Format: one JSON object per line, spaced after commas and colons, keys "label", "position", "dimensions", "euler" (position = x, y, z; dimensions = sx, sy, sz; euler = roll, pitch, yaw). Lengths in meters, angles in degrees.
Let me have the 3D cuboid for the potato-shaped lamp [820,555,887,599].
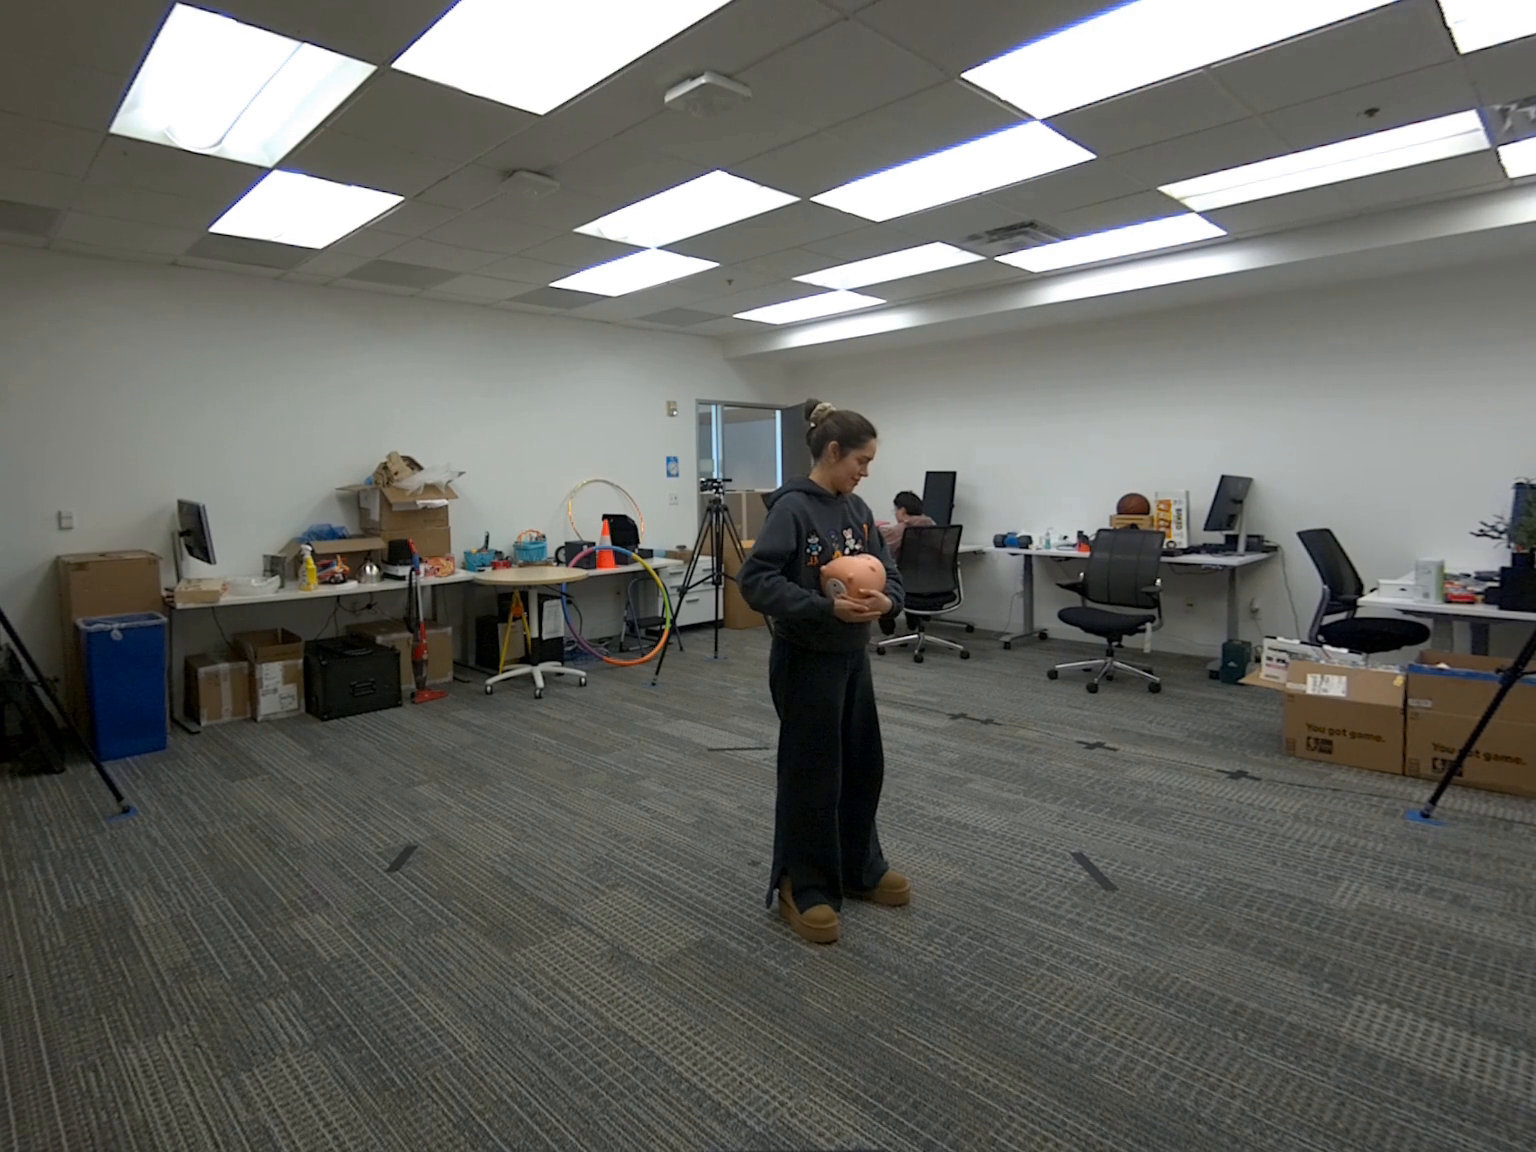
{"label": "potato-shaped lamp", "position": [0.257, 0.011, 2.542], "dimensions": [0.170, 0.167, 0.196], "euler": [13, 32, 40]}
